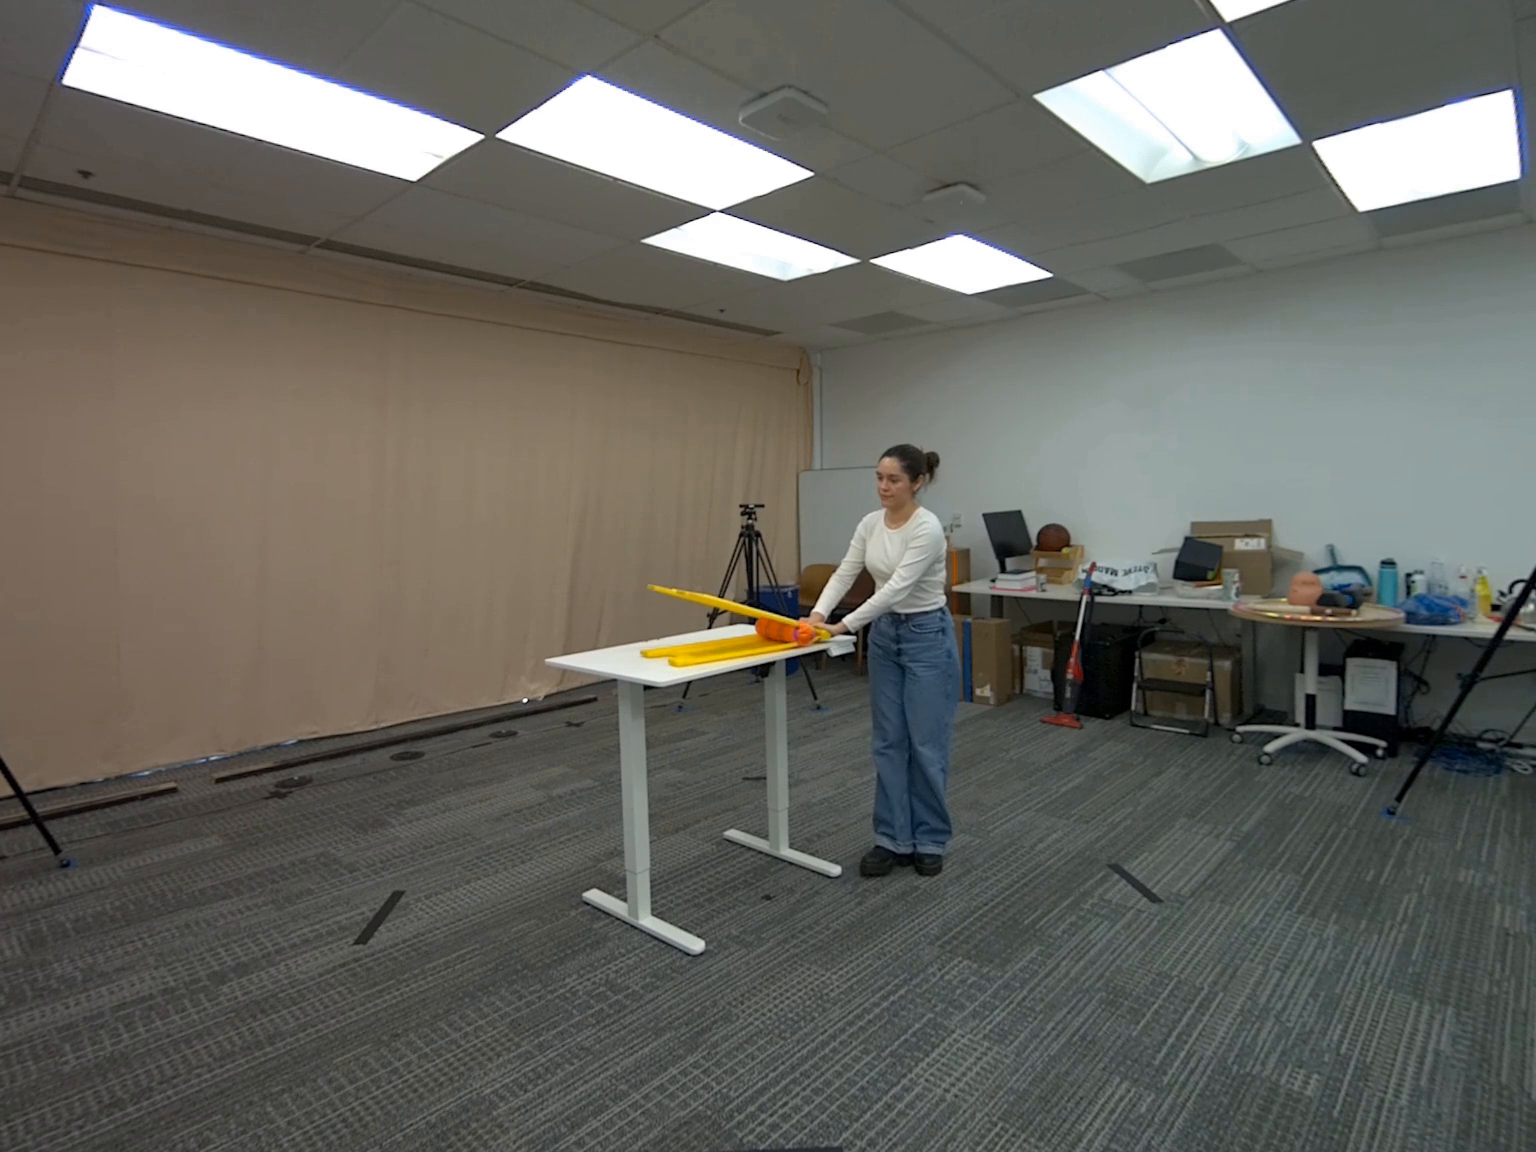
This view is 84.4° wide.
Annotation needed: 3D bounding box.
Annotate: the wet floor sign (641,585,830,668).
[{"bbox_3d":[-0.078,0.197,2.948,0.627,0.290,0.291,6,0,-31],"label":"wet floor sign"}]
